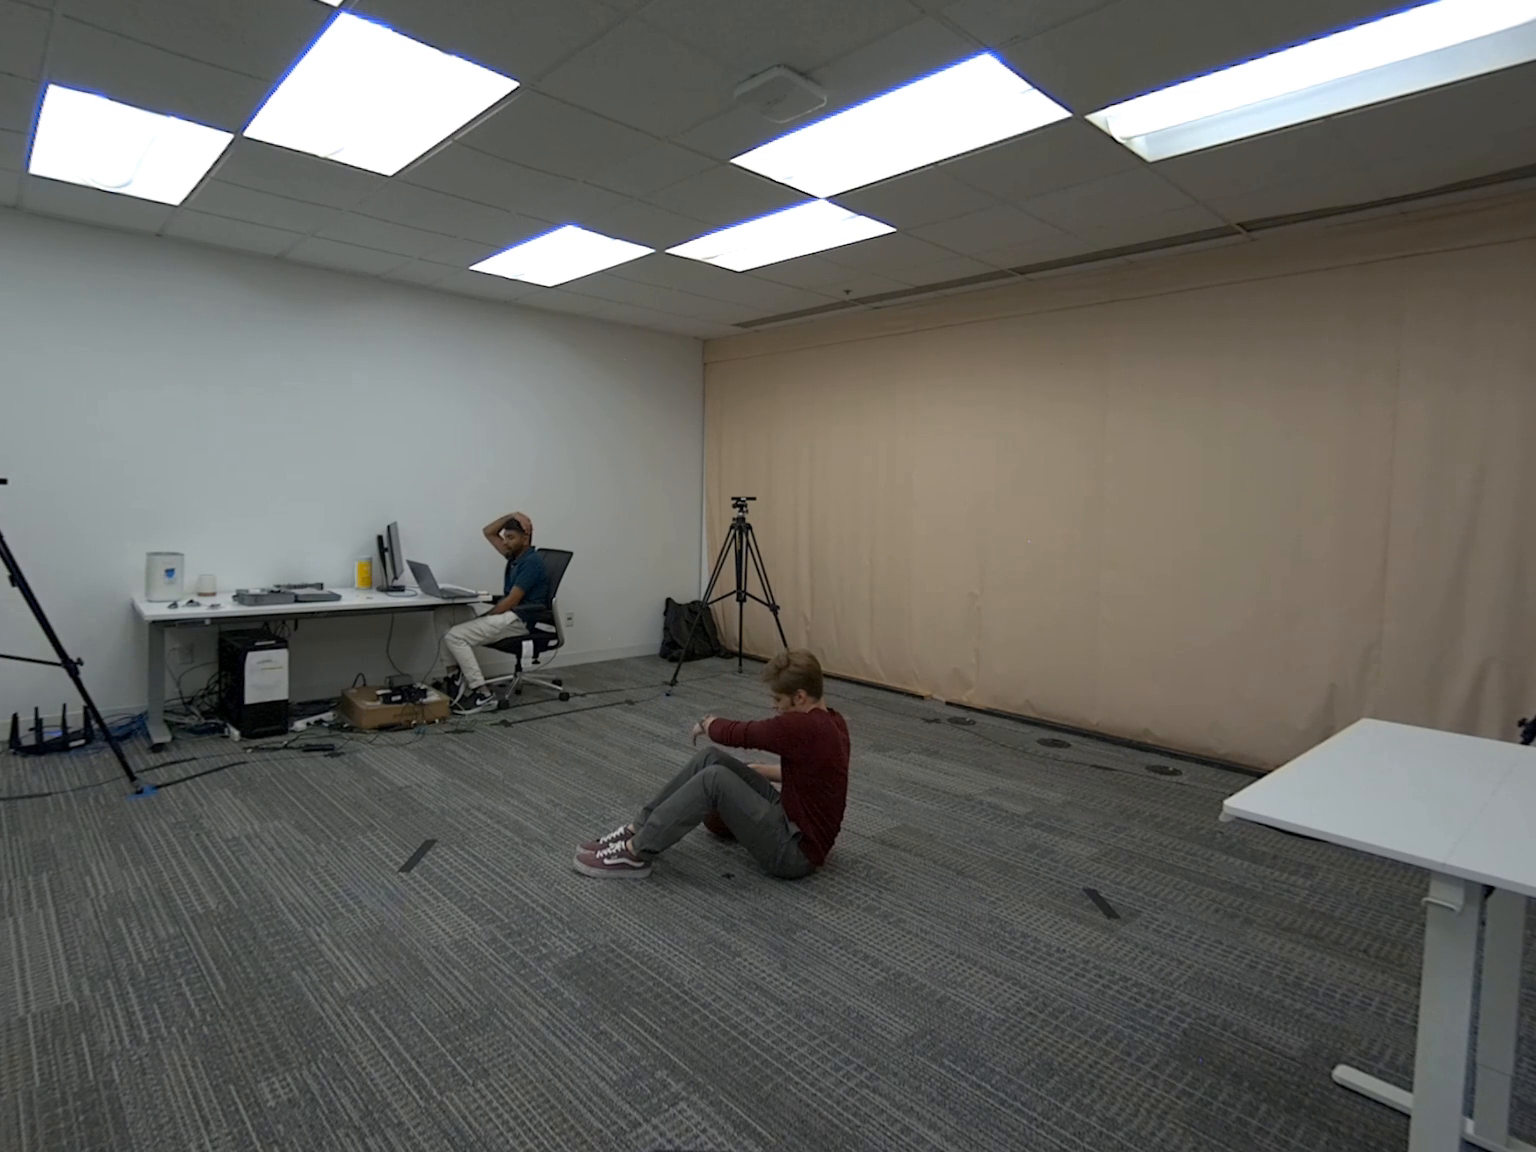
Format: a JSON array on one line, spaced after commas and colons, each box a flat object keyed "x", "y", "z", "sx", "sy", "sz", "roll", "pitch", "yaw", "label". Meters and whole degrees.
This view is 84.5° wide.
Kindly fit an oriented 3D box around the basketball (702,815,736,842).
[{"x": -0.163, "y": 0.951, "z": 3.474, "sx": 0.236, "sy": 0.235, "sz": 0.237, "roll": 1, "pitch": 4, "yaw": -1, "label": "basketball"}]
